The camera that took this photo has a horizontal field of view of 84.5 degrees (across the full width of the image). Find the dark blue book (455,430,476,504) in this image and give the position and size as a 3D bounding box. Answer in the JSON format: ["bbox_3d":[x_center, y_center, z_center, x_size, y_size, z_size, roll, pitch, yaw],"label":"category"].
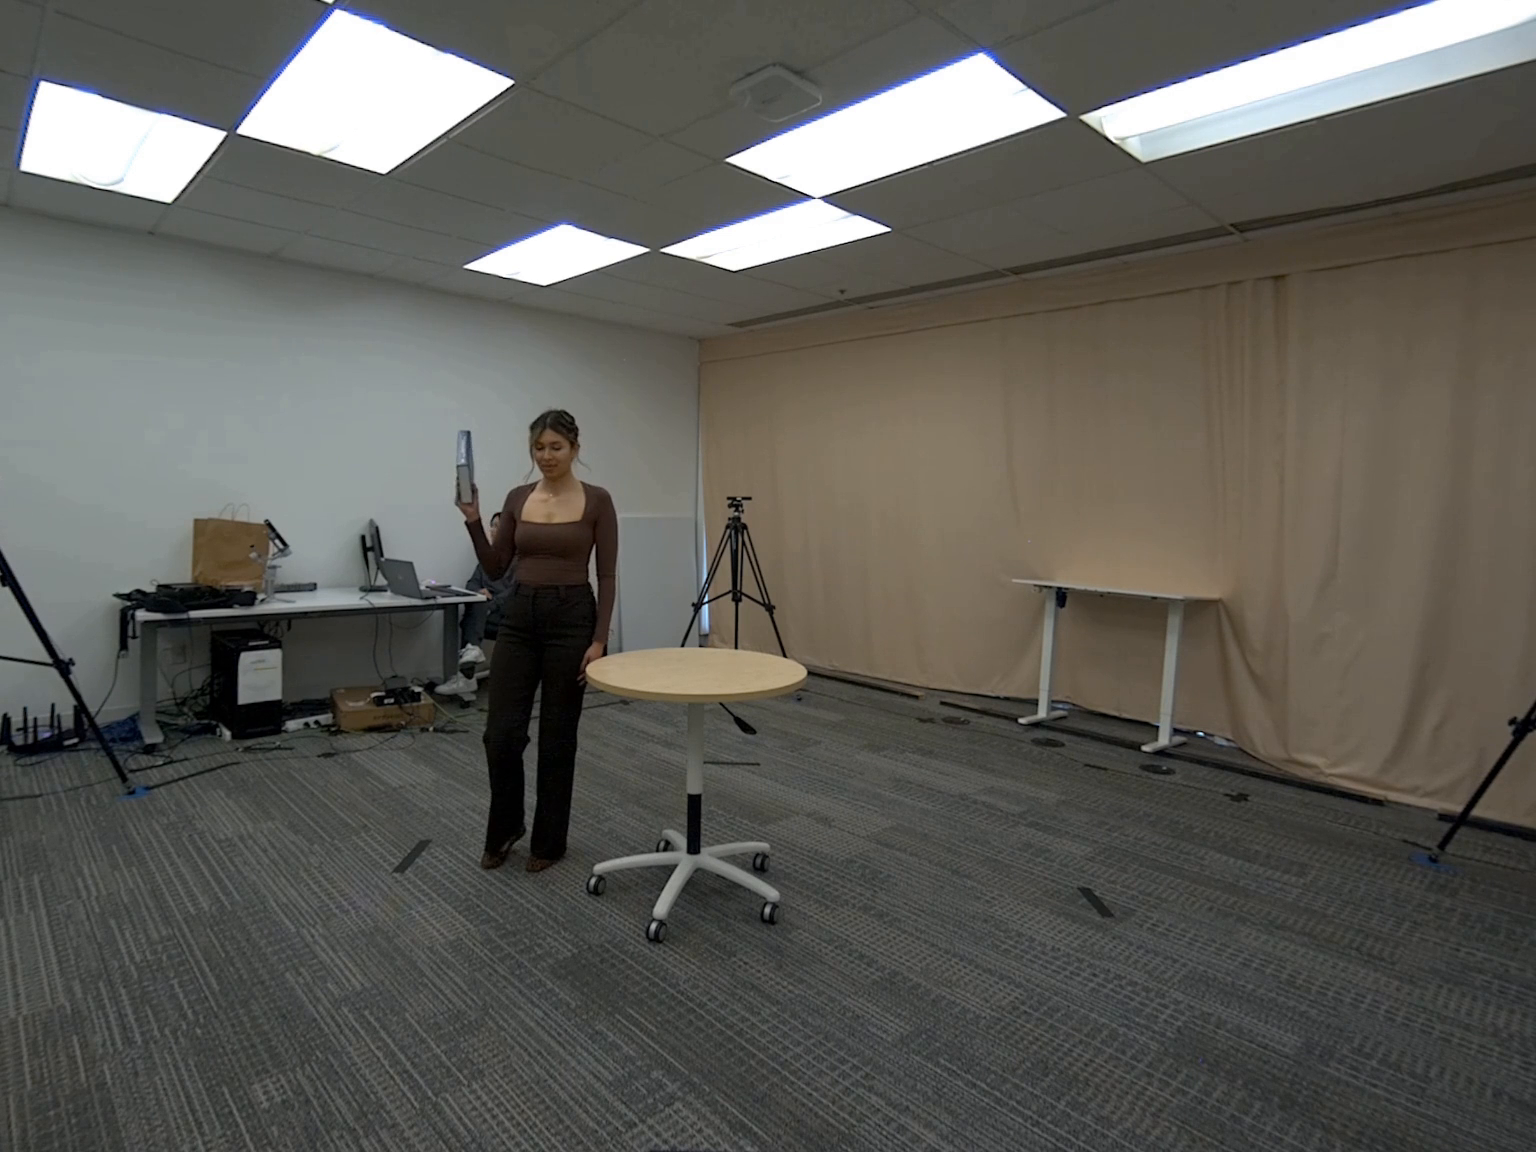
[{"bbox_3d":[-1.096,-0.392,3.025,0.045,0.160,0.252,-6,39,-11],"label":"dark blue book"}]
